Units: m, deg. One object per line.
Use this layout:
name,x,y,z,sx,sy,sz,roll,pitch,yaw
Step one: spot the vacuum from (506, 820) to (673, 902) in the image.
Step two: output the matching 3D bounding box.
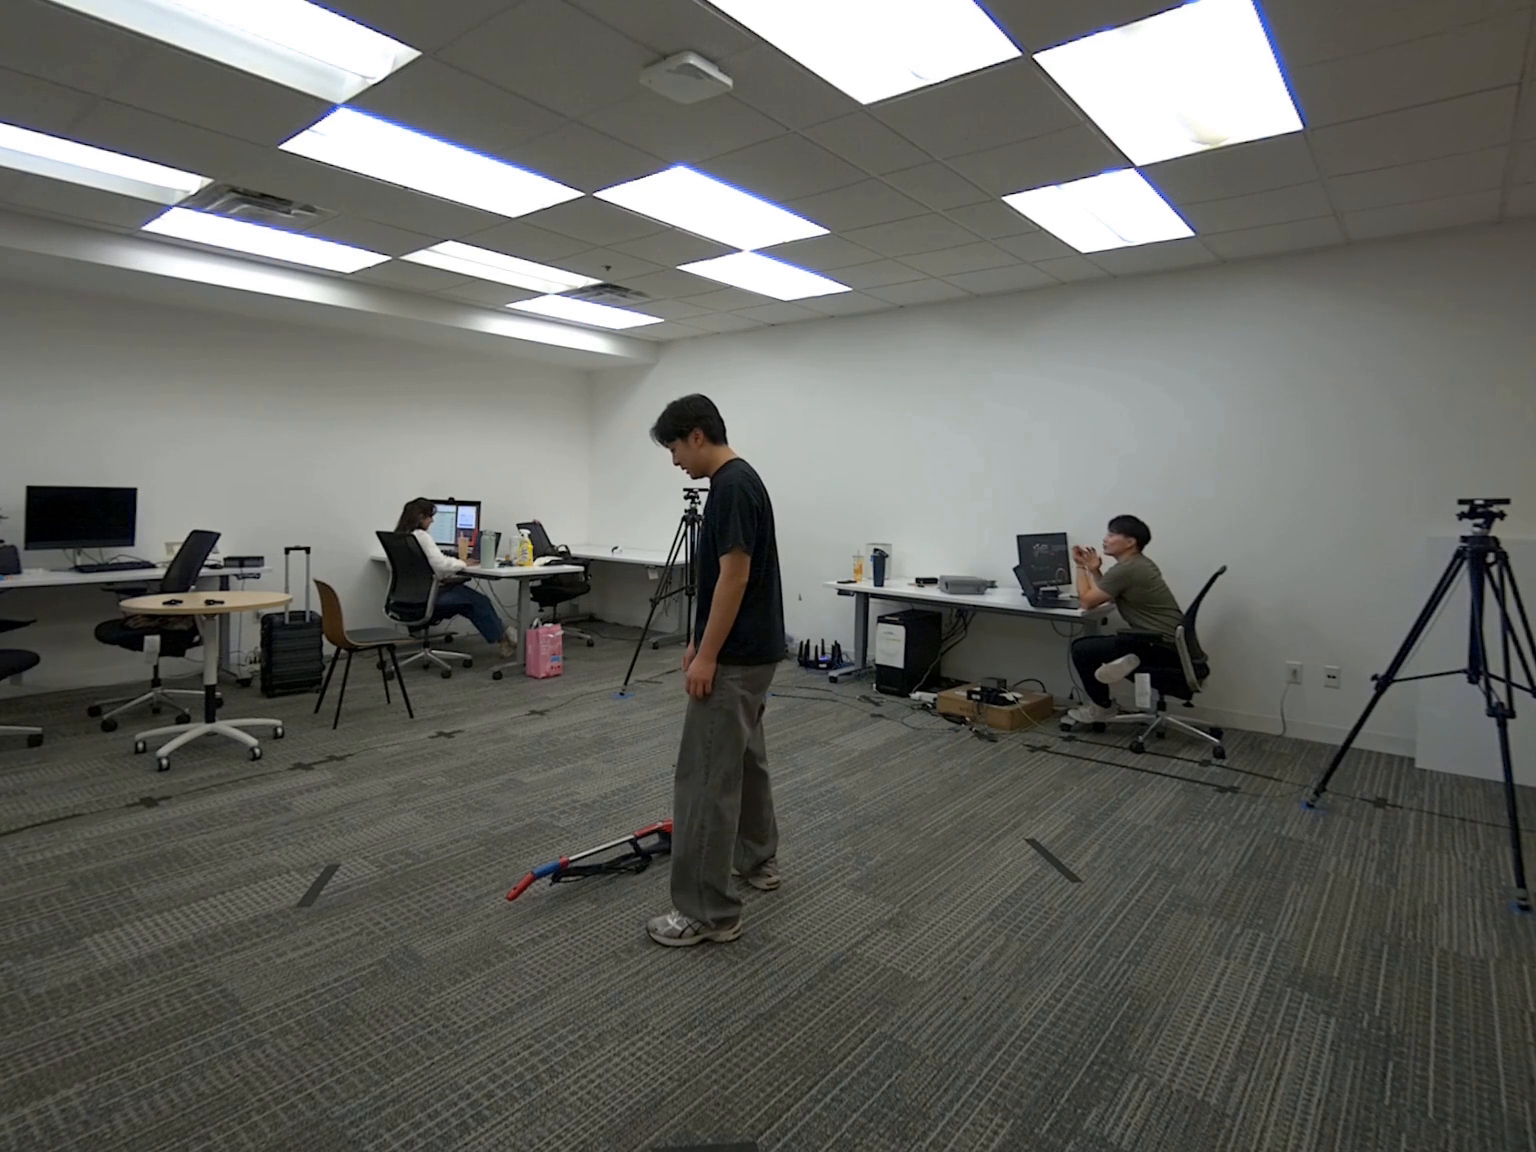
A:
vacuum,-0.506,1.004,3.121,0.262,0.143,1.019,10,11,41
